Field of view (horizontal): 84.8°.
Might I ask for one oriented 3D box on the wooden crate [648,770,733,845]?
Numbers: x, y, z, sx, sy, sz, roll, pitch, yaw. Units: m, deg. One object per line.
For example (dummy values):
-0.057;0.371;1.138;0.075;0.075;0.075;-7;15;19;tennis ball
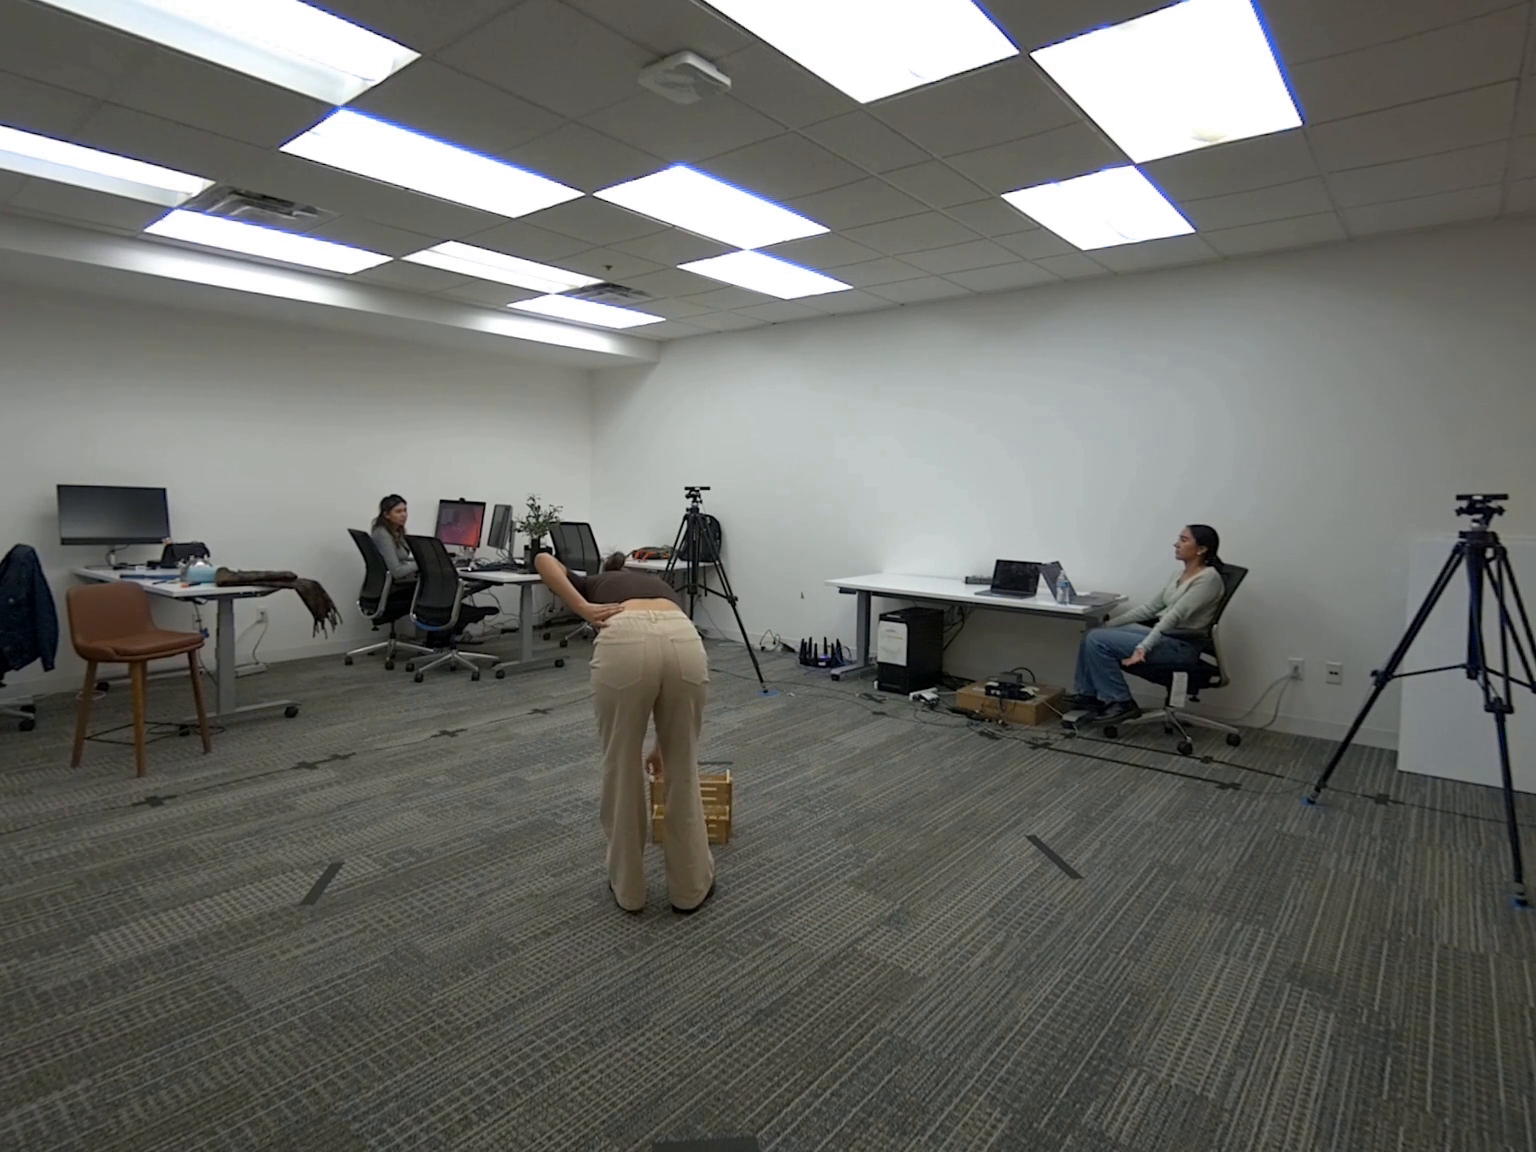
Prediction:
-0.312;0.899;3.426;0.324;0.273;0.303;0;3;-1;wooden crate
